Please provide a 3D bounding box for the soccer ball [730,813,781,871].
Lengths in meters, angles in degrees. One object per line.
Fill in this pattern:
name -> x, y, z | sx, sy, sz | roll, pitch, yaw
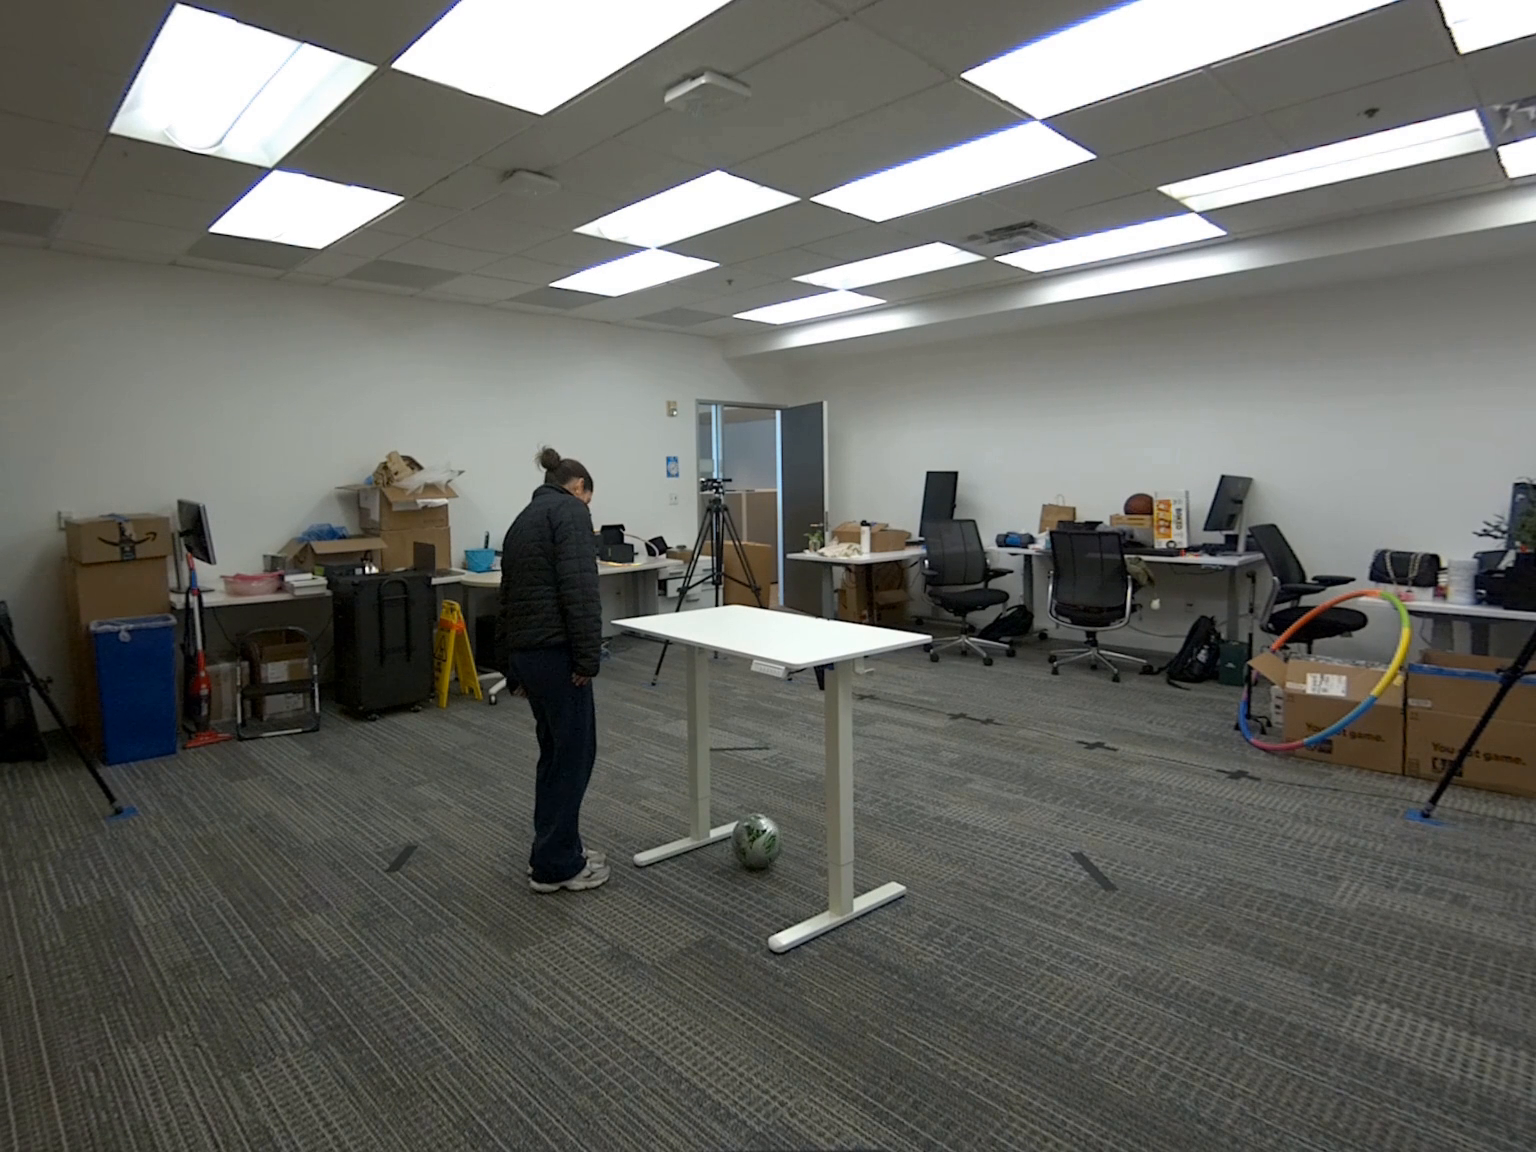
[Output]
soccer ball -> -0.037, 0.942, 3.072 | 0.187, 0.187, 0.188 | -1, 5, -2
